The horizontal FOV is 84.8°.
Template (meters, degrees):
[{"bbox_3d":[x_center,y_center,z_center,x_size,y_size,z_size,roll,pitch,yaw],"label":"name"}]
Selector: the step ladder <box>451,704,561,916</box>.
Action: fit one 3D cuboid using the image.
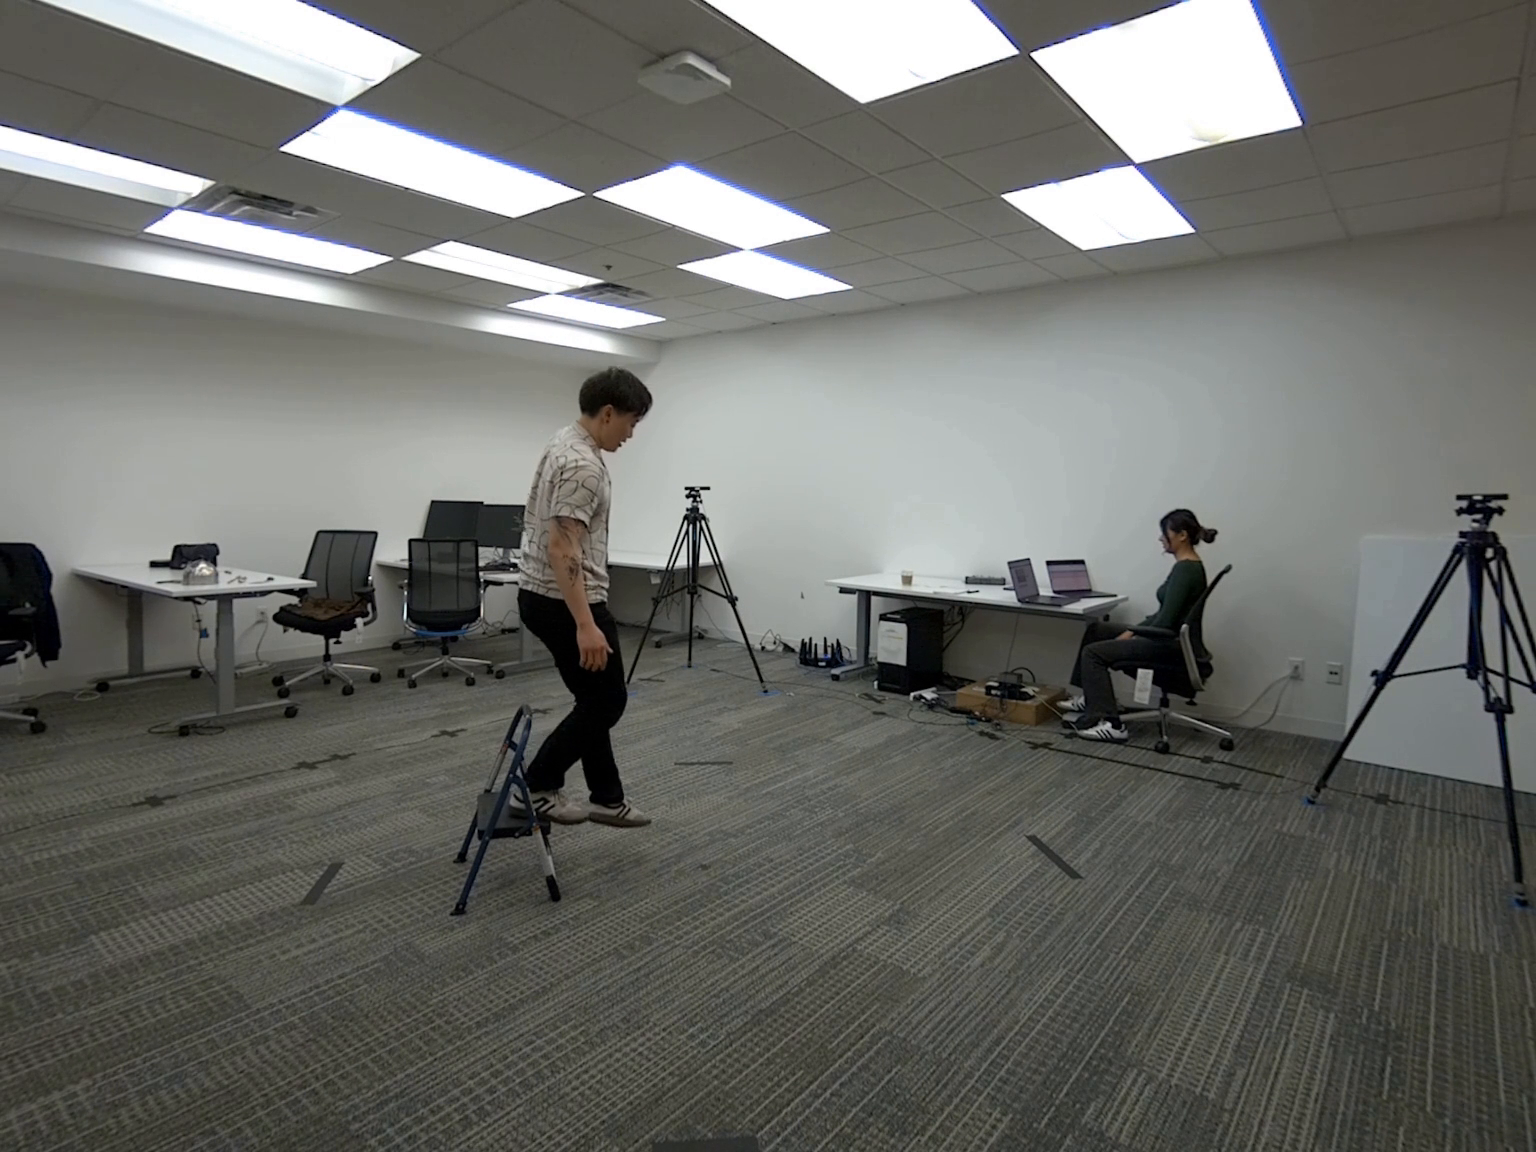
[{"bbox_3d":[-0.931,0.771,2.969,0.343,0.604,0.440,0,4,-19],"label":"step ladder"}]
